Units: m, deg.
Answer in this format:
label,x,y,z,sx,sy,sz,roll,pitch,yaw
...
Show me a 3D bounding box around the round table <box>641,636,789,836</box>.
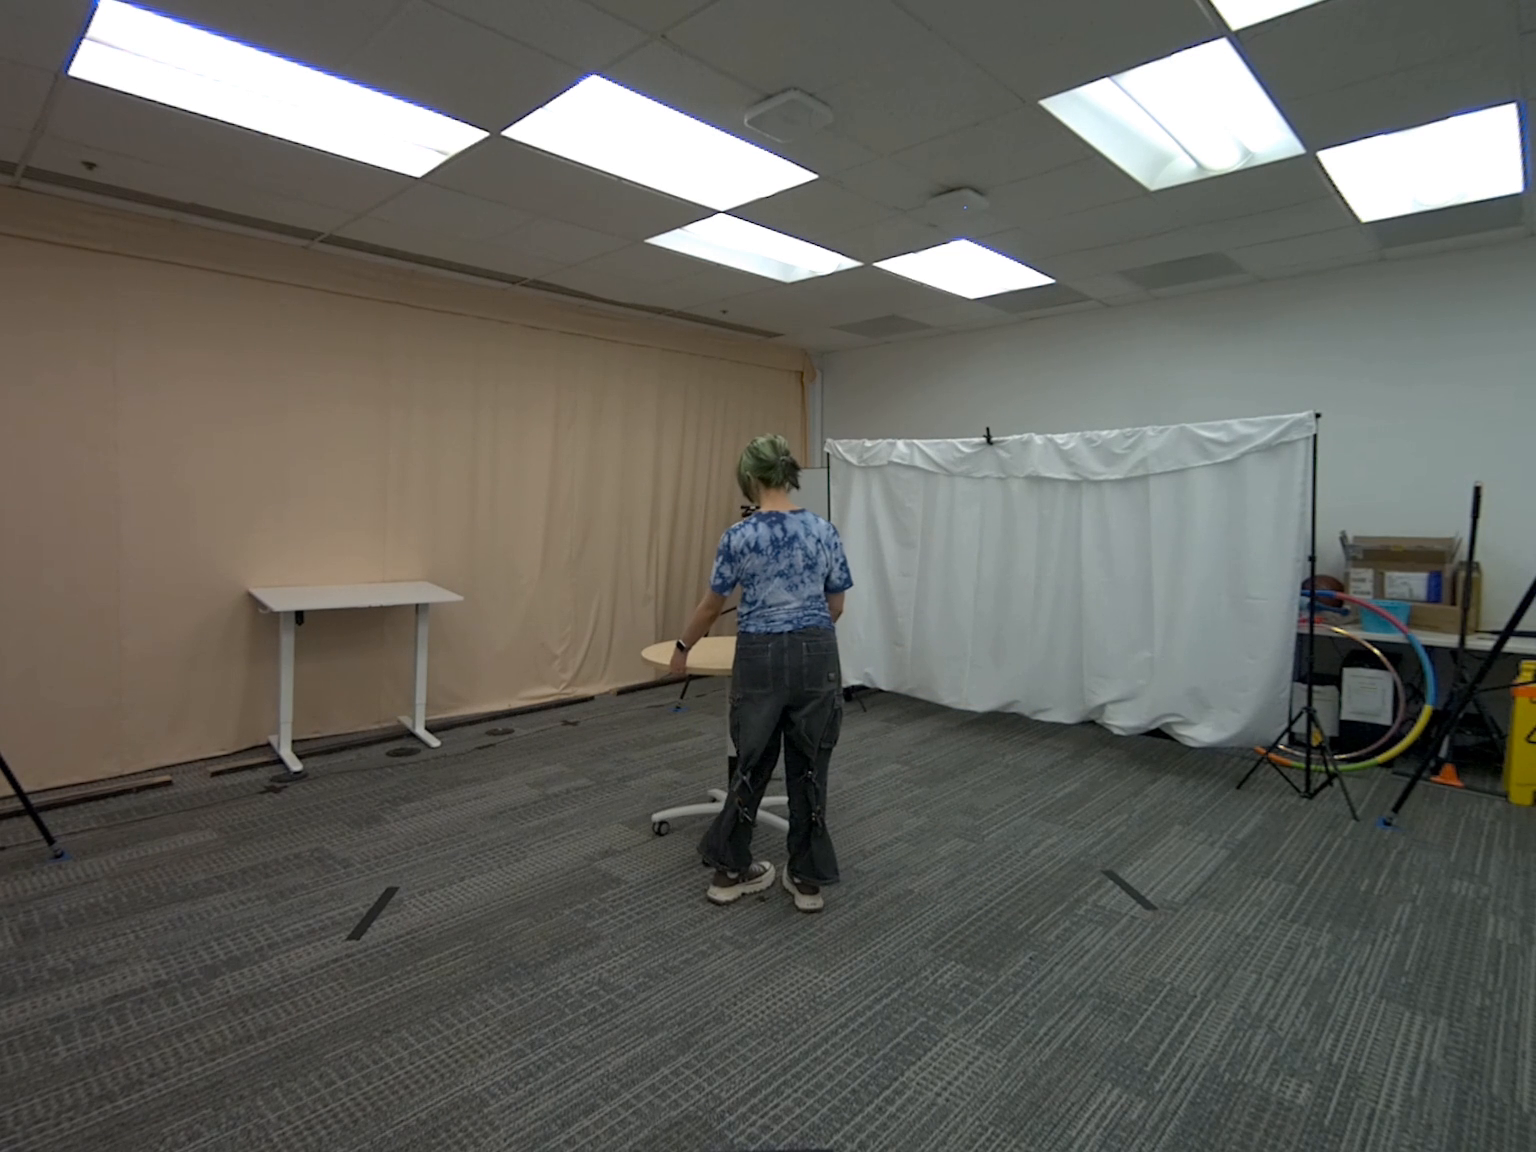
label,x,y,z,sx,sy,sz,roll,pitch,yaw
round table,-0.142,0.706,3.536,0.763,0.792,0.766,-1,3,-2
